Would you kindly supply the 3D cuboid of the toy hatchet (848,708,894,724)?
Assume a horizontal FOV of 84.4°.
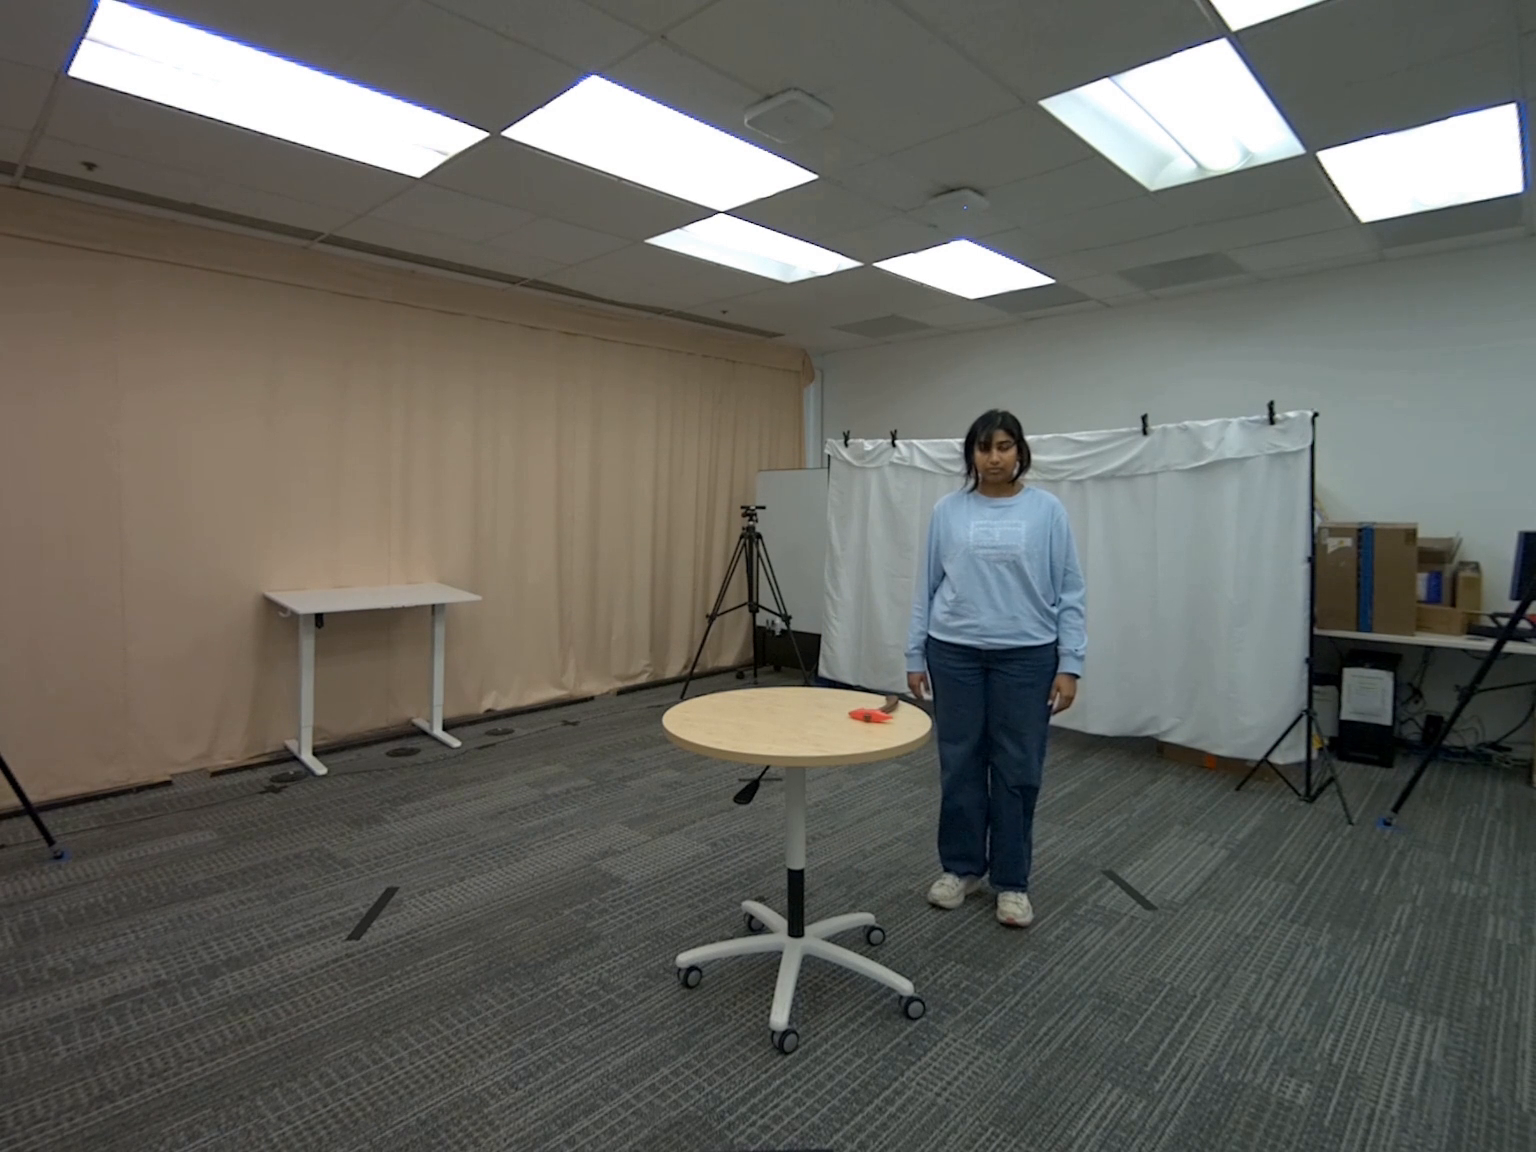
[{"bbox_3d":[0.315,0.390,2.451,0.133,0.029,0.266,-4,2,13],"label":"toy hatchet"}]
